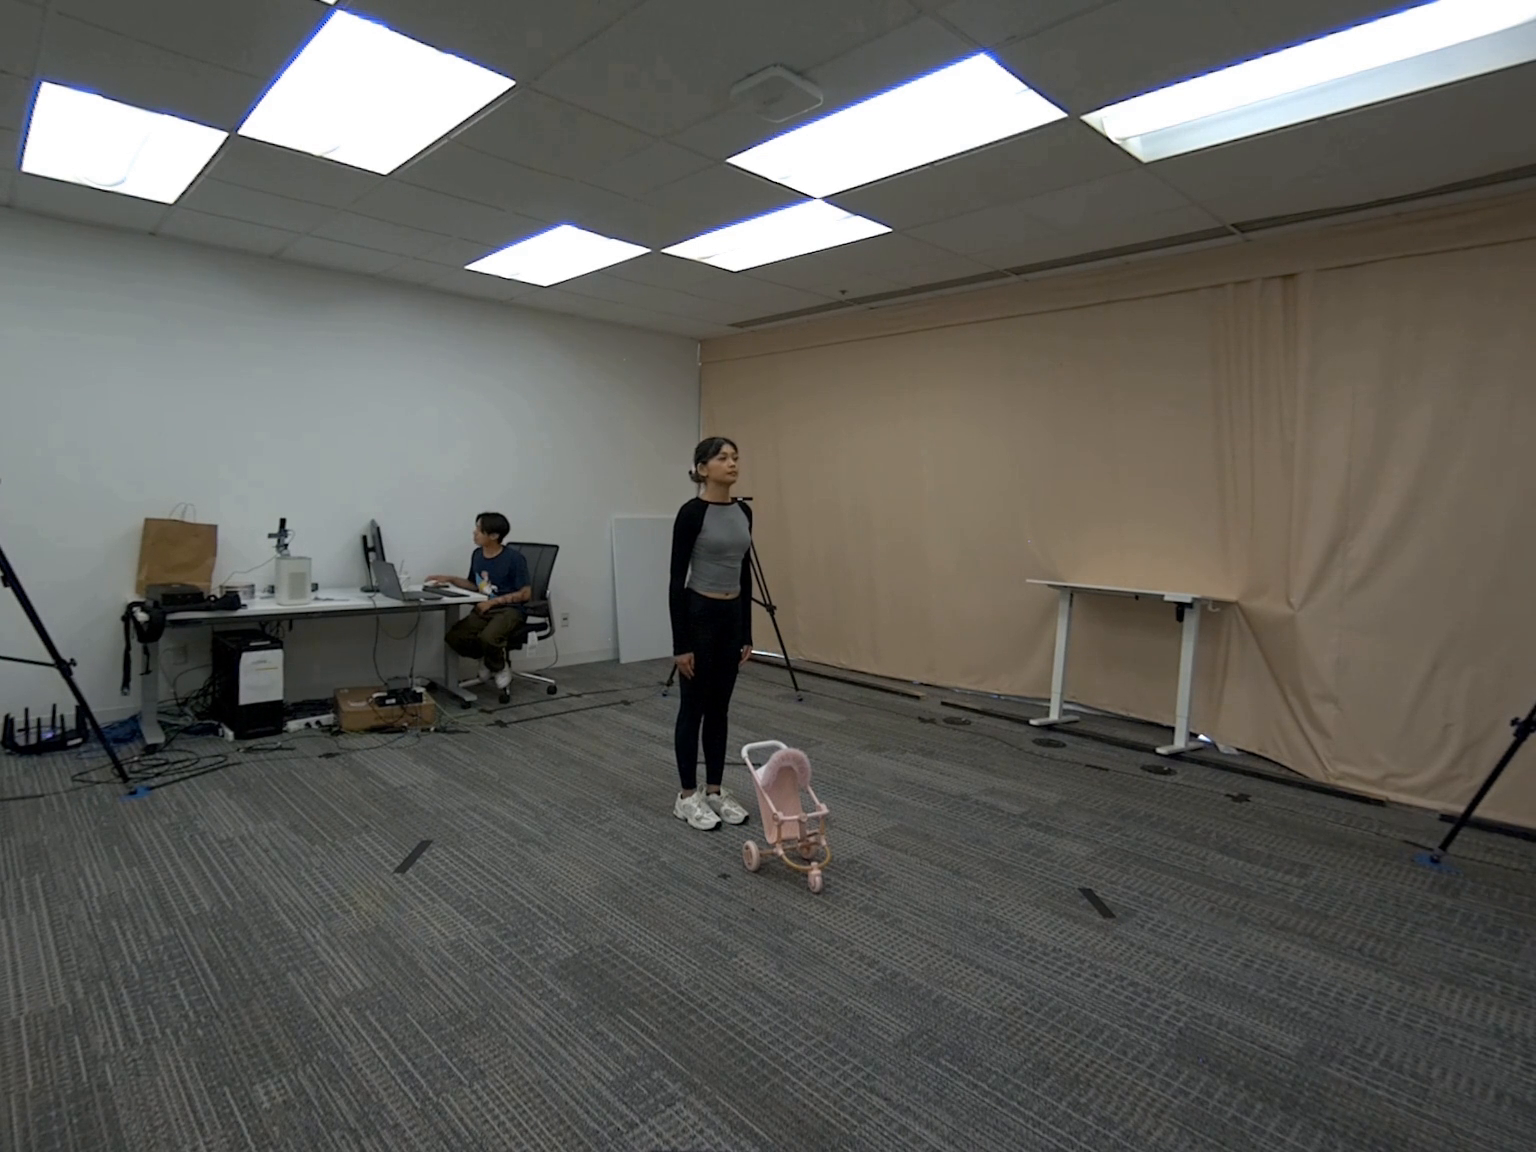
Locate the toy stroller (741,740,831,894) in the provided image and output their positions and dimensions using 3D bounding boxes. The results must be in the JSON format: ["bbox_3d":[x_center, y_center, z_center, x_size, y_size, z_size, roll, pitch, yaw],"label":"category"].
[{"bbox_3d":[0.072,0.885,3.152,0.276,0.540,0.344,0,-14,-25],"label":"toy stroller"}]
